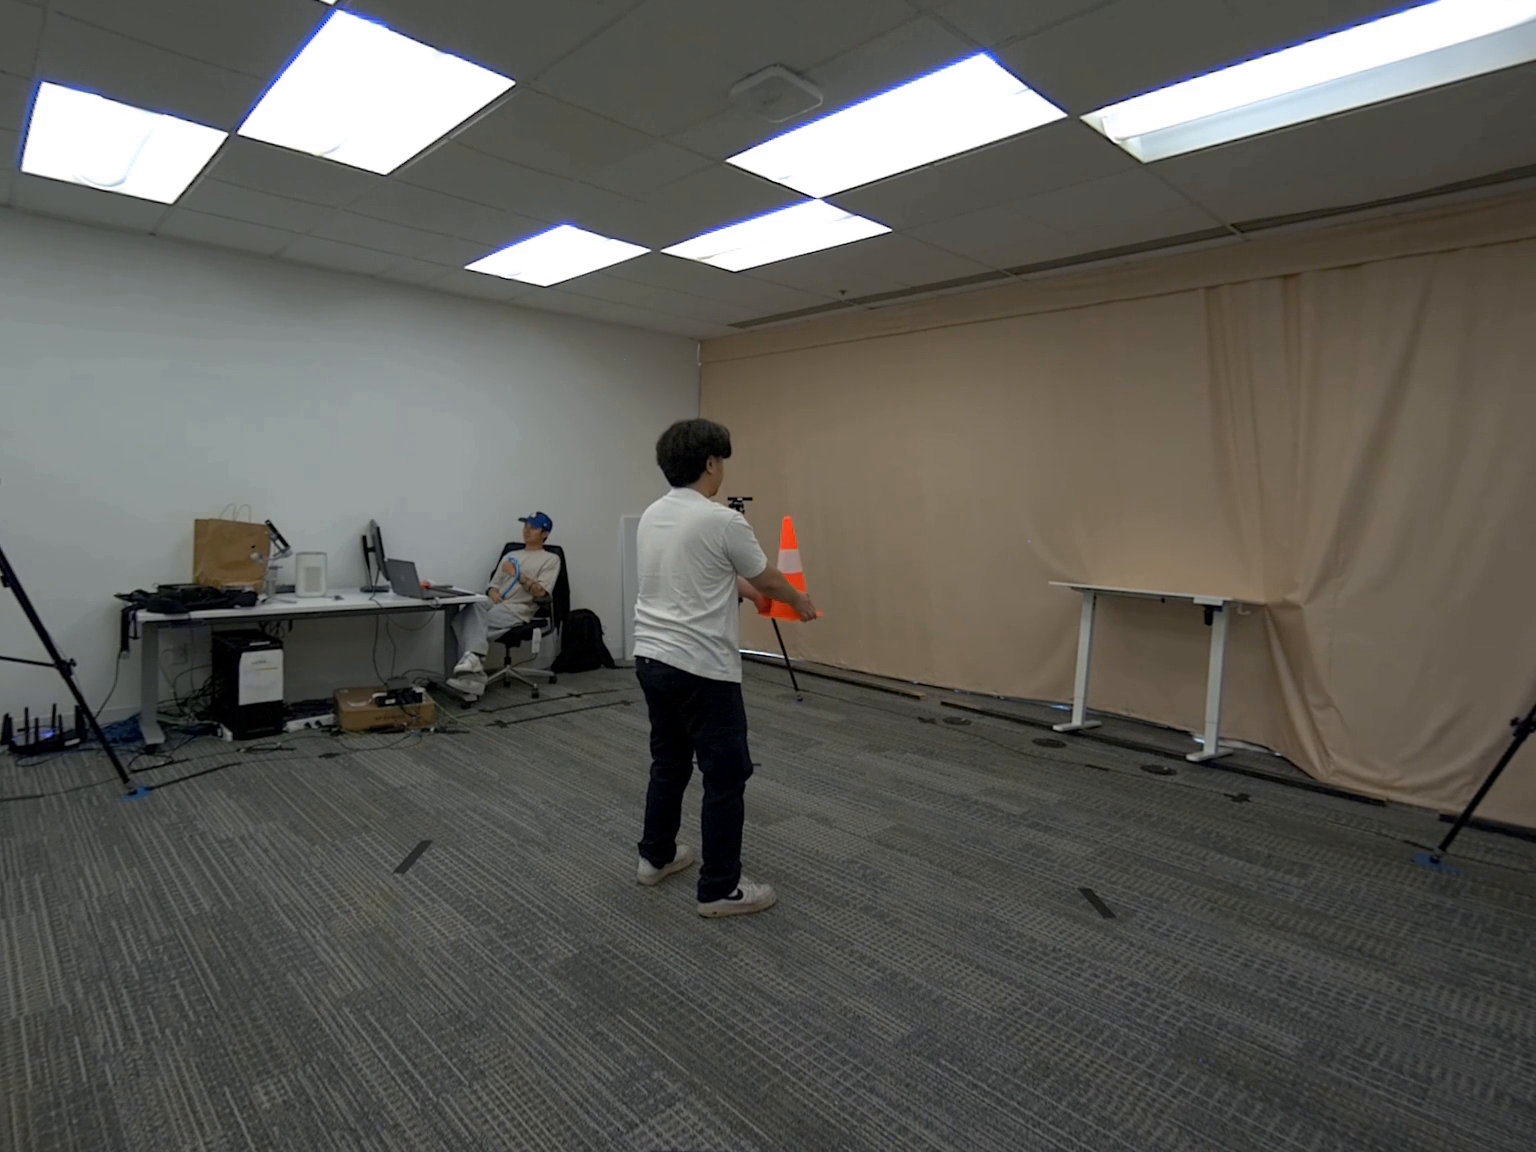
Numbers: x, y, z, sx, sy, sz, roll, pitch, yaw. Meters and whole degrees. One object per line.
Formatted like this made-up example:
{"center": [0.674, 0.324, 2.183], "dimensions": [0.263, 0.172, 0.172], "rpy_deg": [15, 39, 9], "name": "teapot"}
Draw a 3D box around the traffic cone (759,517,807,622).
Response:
{"center": [0.072, -0.034, 3.277], "dimensions": [0.209, 0.382, 0.199], "rpy_deg": [3, 5, 32], "name": "traffic cone"}
